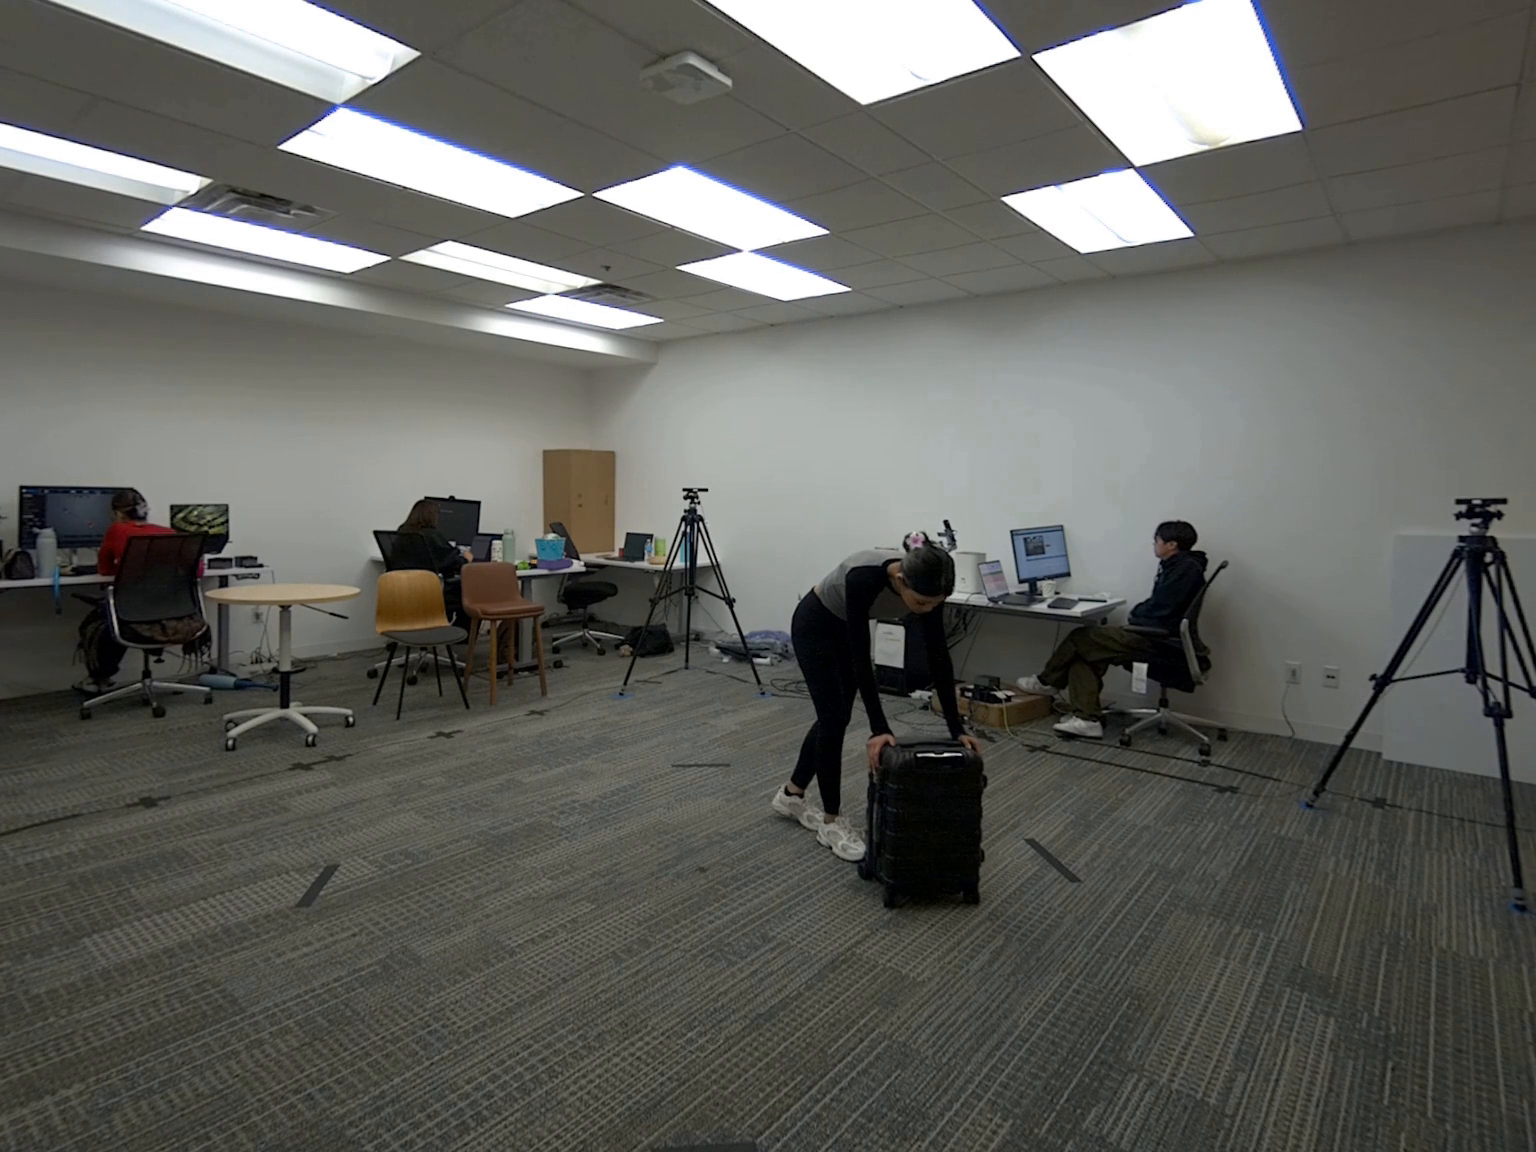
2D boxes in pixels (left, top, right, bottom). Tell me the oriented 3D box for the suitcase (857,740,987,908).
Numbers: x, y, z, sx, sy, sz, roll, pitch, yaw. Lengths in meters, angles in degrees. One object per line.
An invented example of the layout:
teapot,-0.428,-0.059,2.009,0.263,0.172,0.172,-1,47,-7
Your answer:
suitcase,0.535,0.827,2.945,0.371,0.547,0.252,1,5,-11
